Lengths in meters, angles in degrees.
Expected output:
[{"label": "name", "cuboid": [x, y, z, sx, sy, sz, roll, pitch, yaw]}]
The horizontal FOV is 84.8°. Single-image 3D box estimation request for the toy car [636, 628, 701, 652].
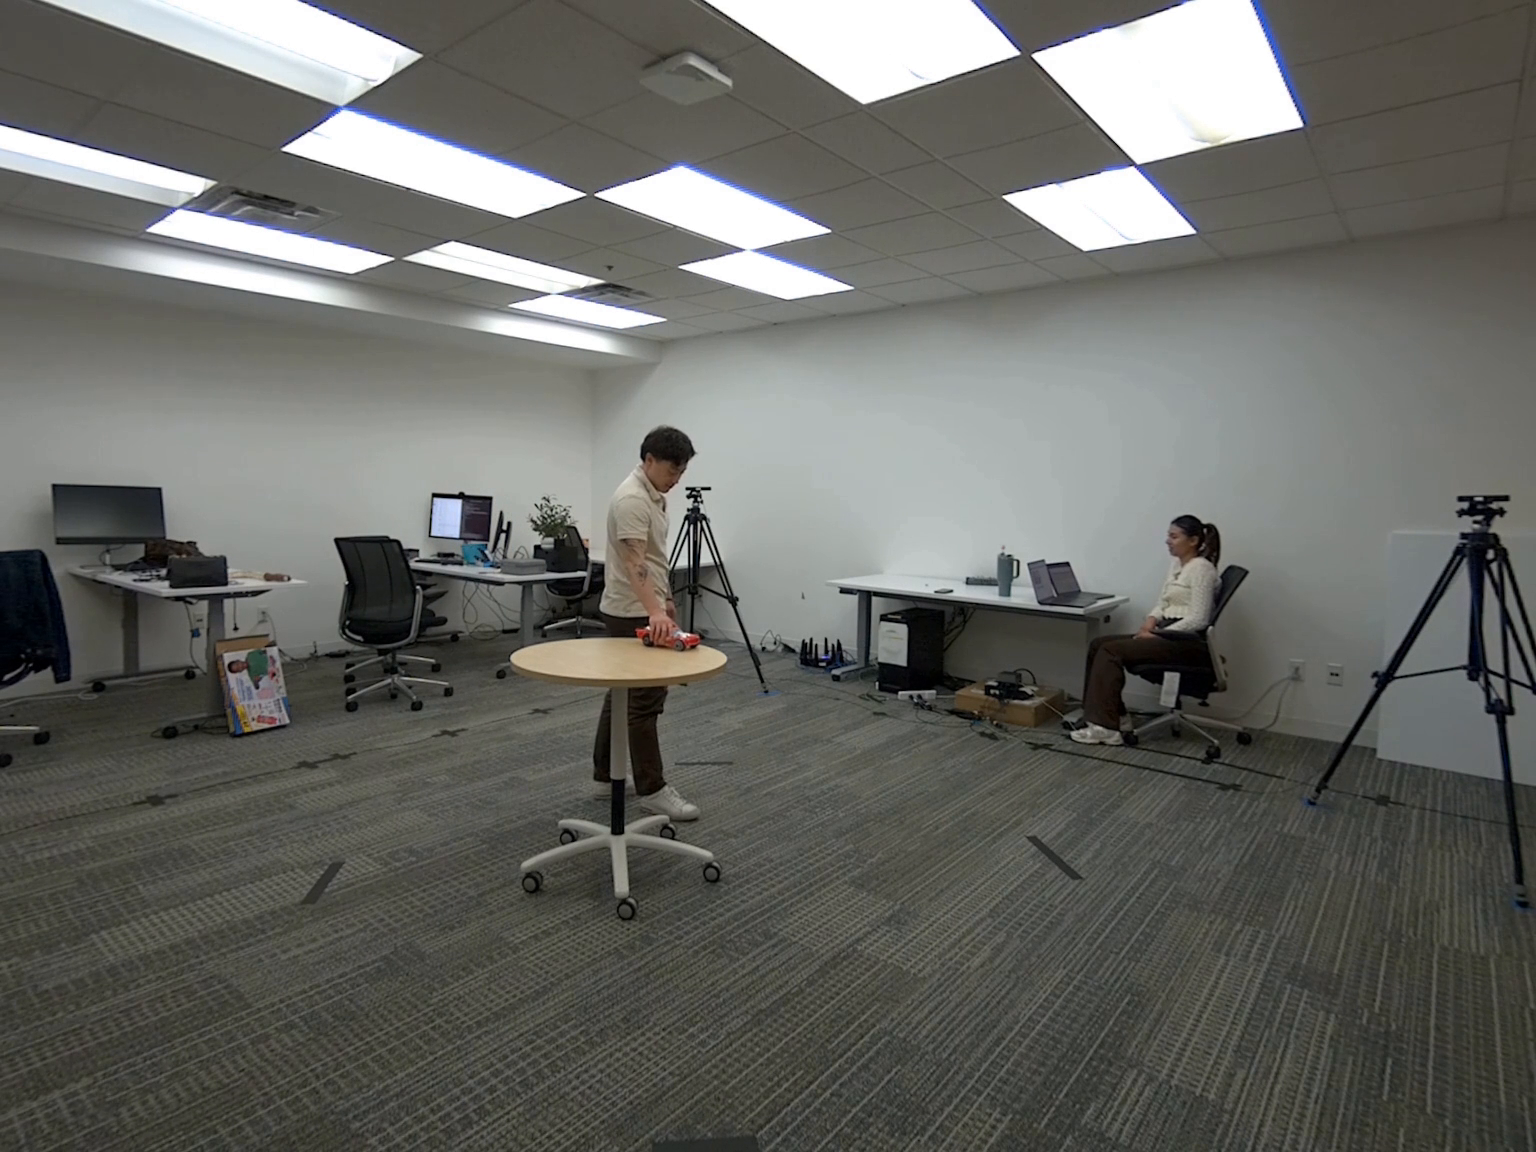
[{"label": "toy car", "cuboid": [-0.398, 0.236, 3.256, 0.263, 0.082, 0.127, 17, 13, 29]}]
